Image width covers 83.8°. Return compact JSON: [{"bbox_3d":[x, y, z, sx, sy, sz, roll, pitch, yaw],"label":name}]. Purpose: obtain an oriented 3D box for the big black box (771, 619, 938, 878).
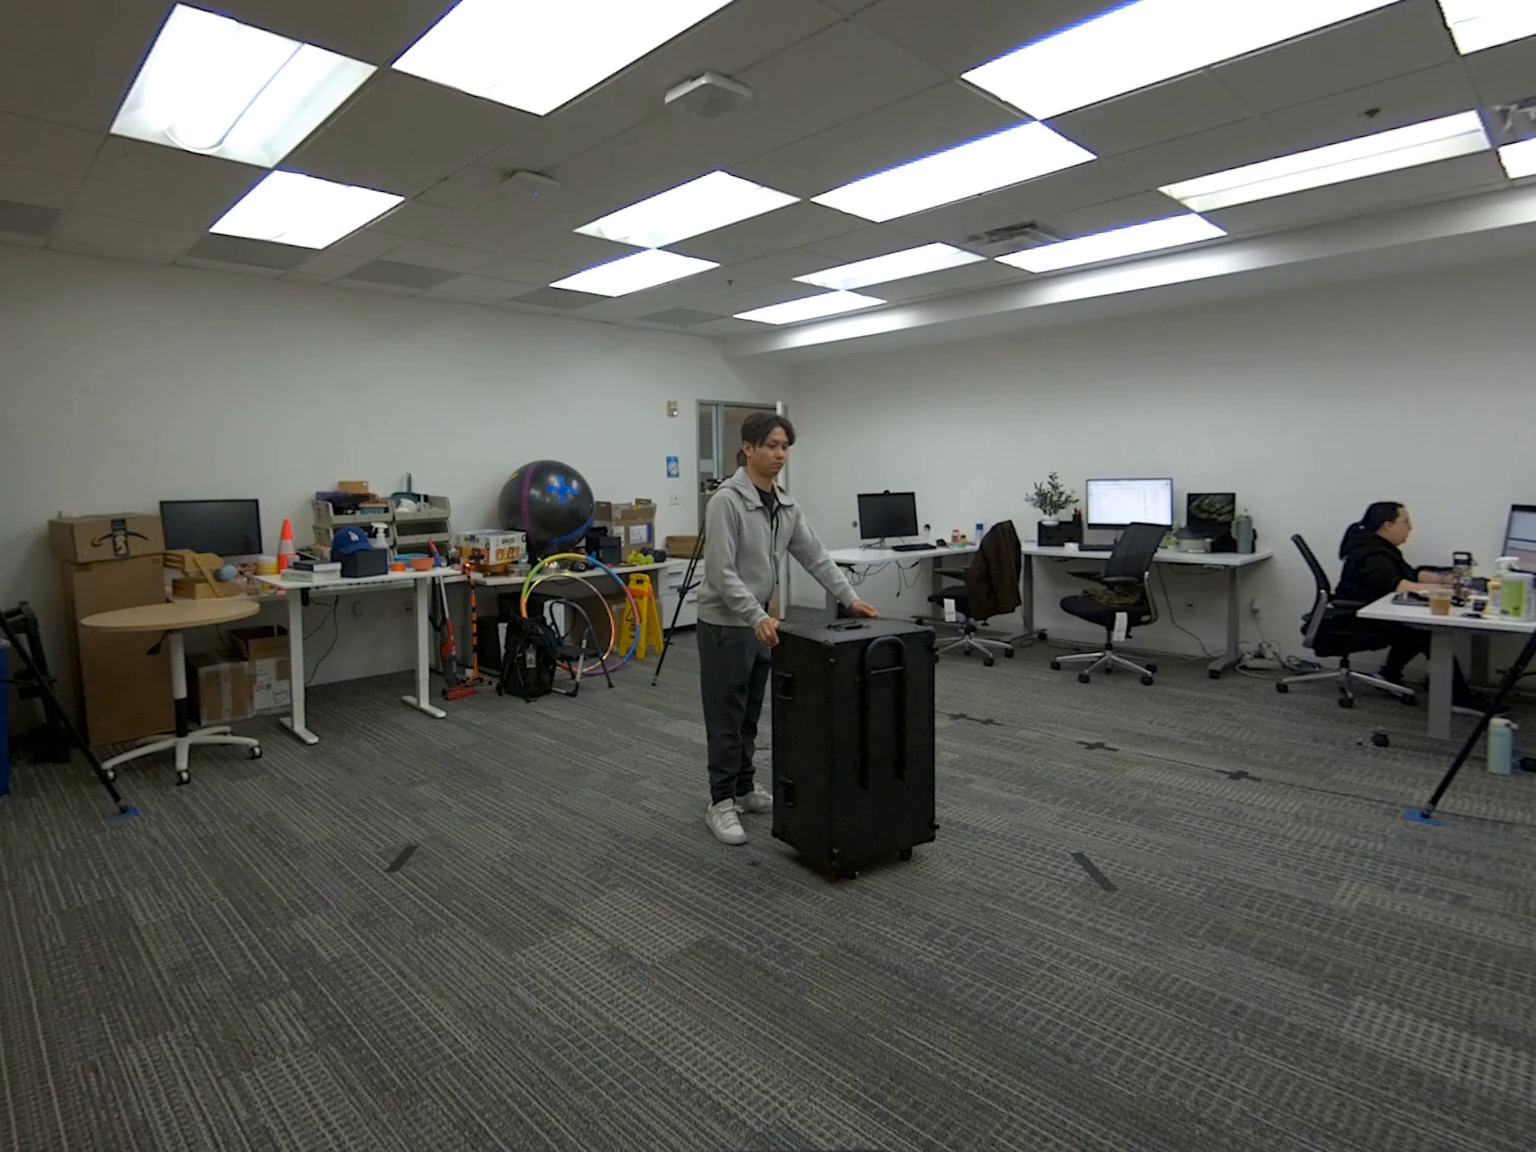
[{"bbox_3d":[0.323,0.616,3.111,0.509,0.857,0.408,-3,6,-31],"label":"big black box"}]
